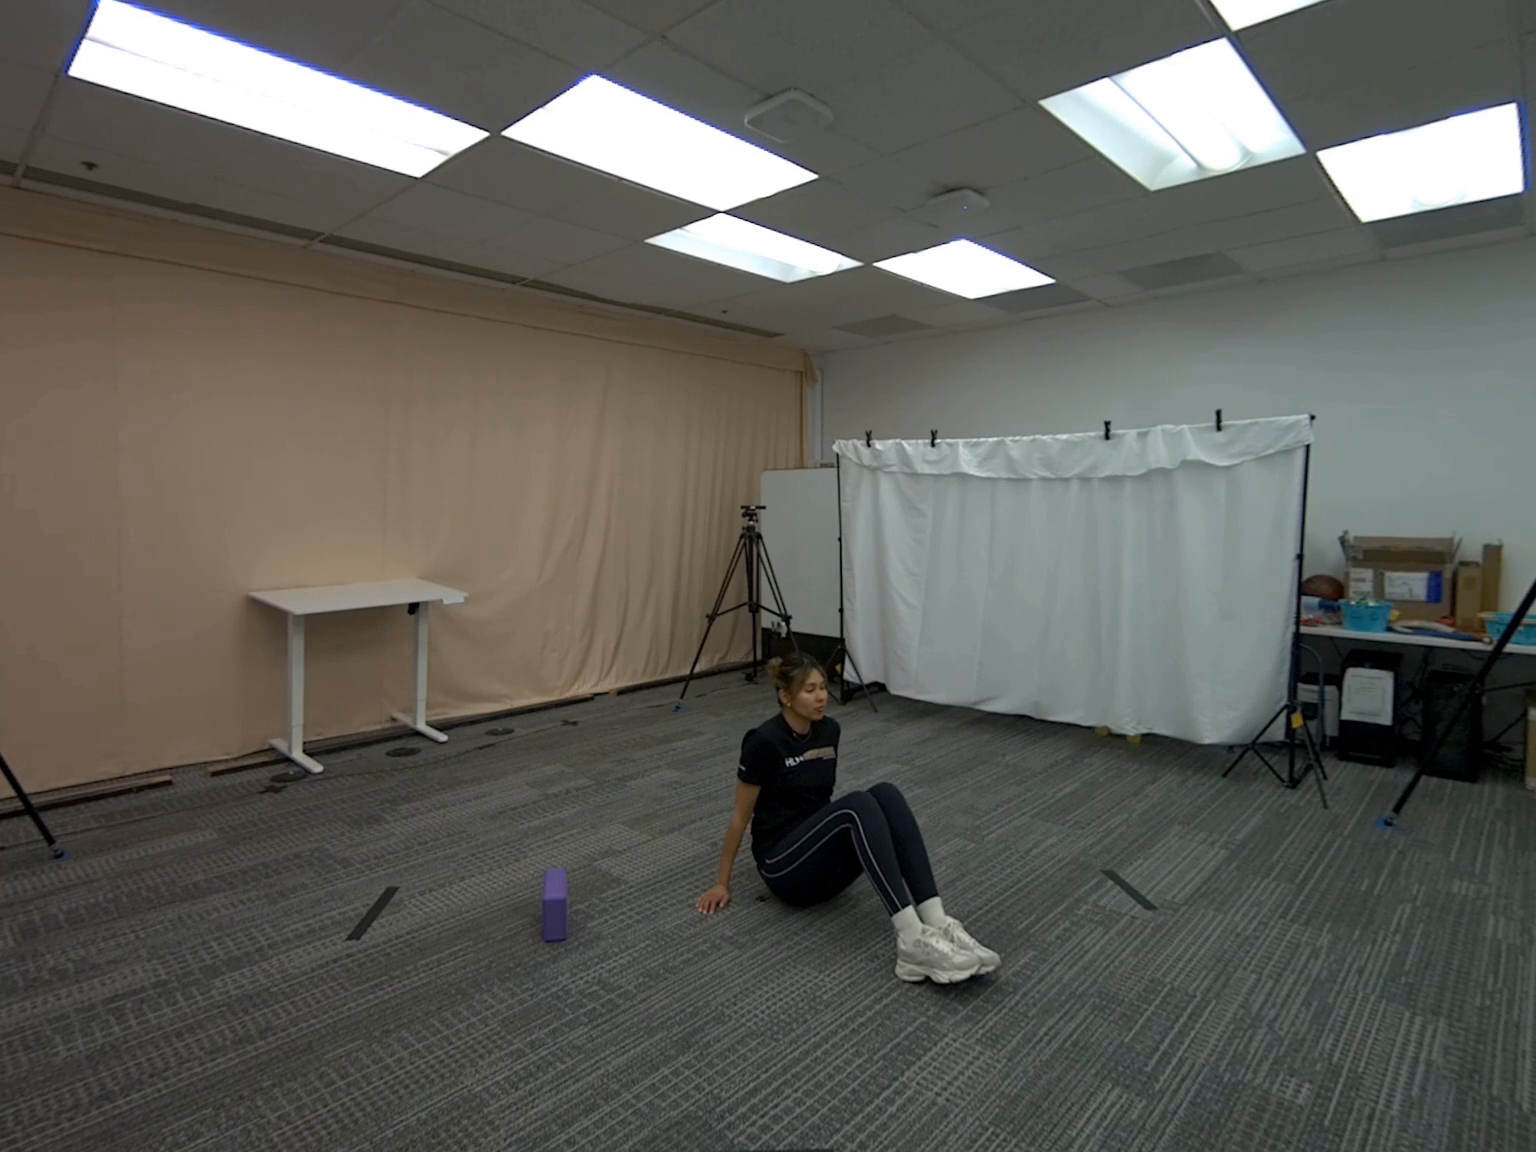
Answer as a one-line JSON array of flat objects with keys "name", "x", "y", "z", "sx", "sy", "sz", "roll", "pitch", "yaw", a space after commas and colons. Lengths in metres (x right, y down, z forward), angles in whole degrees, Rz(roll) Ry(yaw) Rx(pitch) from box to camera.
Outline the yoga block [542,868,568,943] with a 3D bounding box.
[{"name": "yoga block", "x": -0.707, "y": 1.089, "z": 2.803, "sx": 0.075, "sy": 0.148, "sz": 0.232, "roll": -2, "pitch": 5, "yaw": -12}]
